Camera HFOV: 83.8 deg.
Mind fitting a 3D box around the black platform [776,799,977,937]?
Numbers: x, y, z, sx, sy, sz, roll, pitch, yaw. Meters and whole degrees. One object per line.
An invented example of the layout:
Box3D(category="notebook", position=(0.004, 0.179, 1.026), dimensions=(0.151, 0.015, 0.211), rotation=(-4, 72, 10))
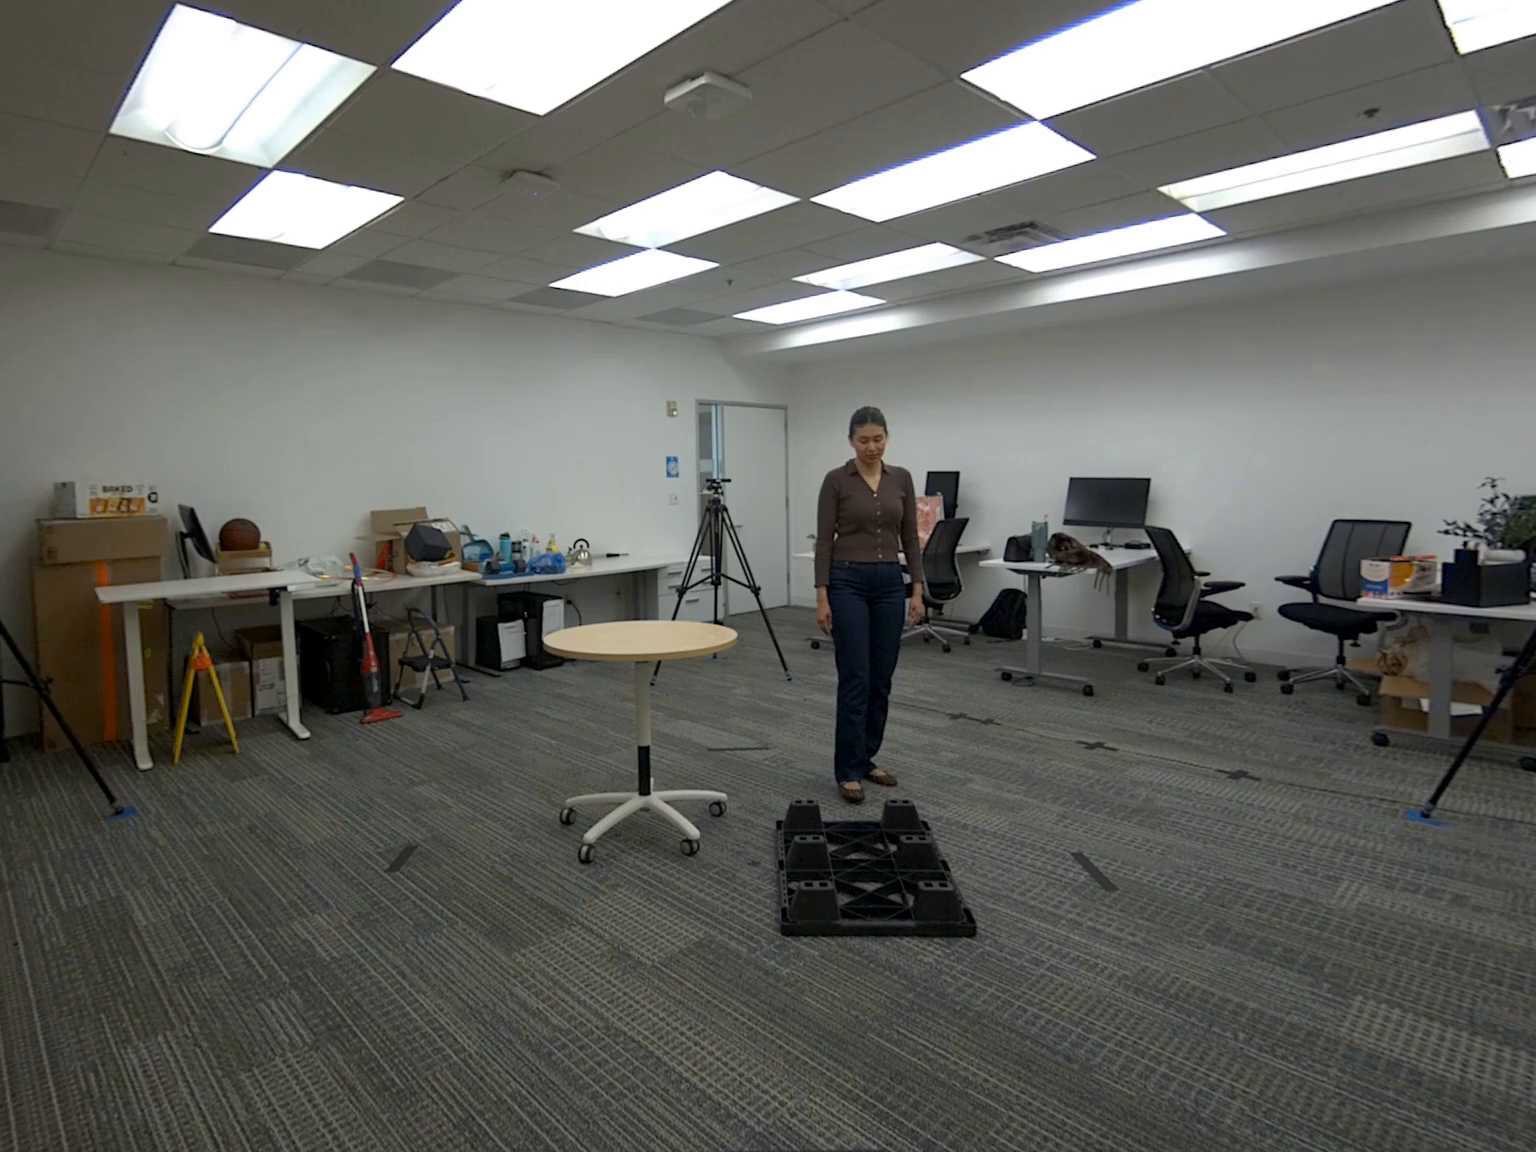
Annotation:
Box3D(category="black platform", position=(0.336, 0.986, 2.982), dimensions=(0.606, 0.142, 0.809), rotation=(-1, 7, 0))
